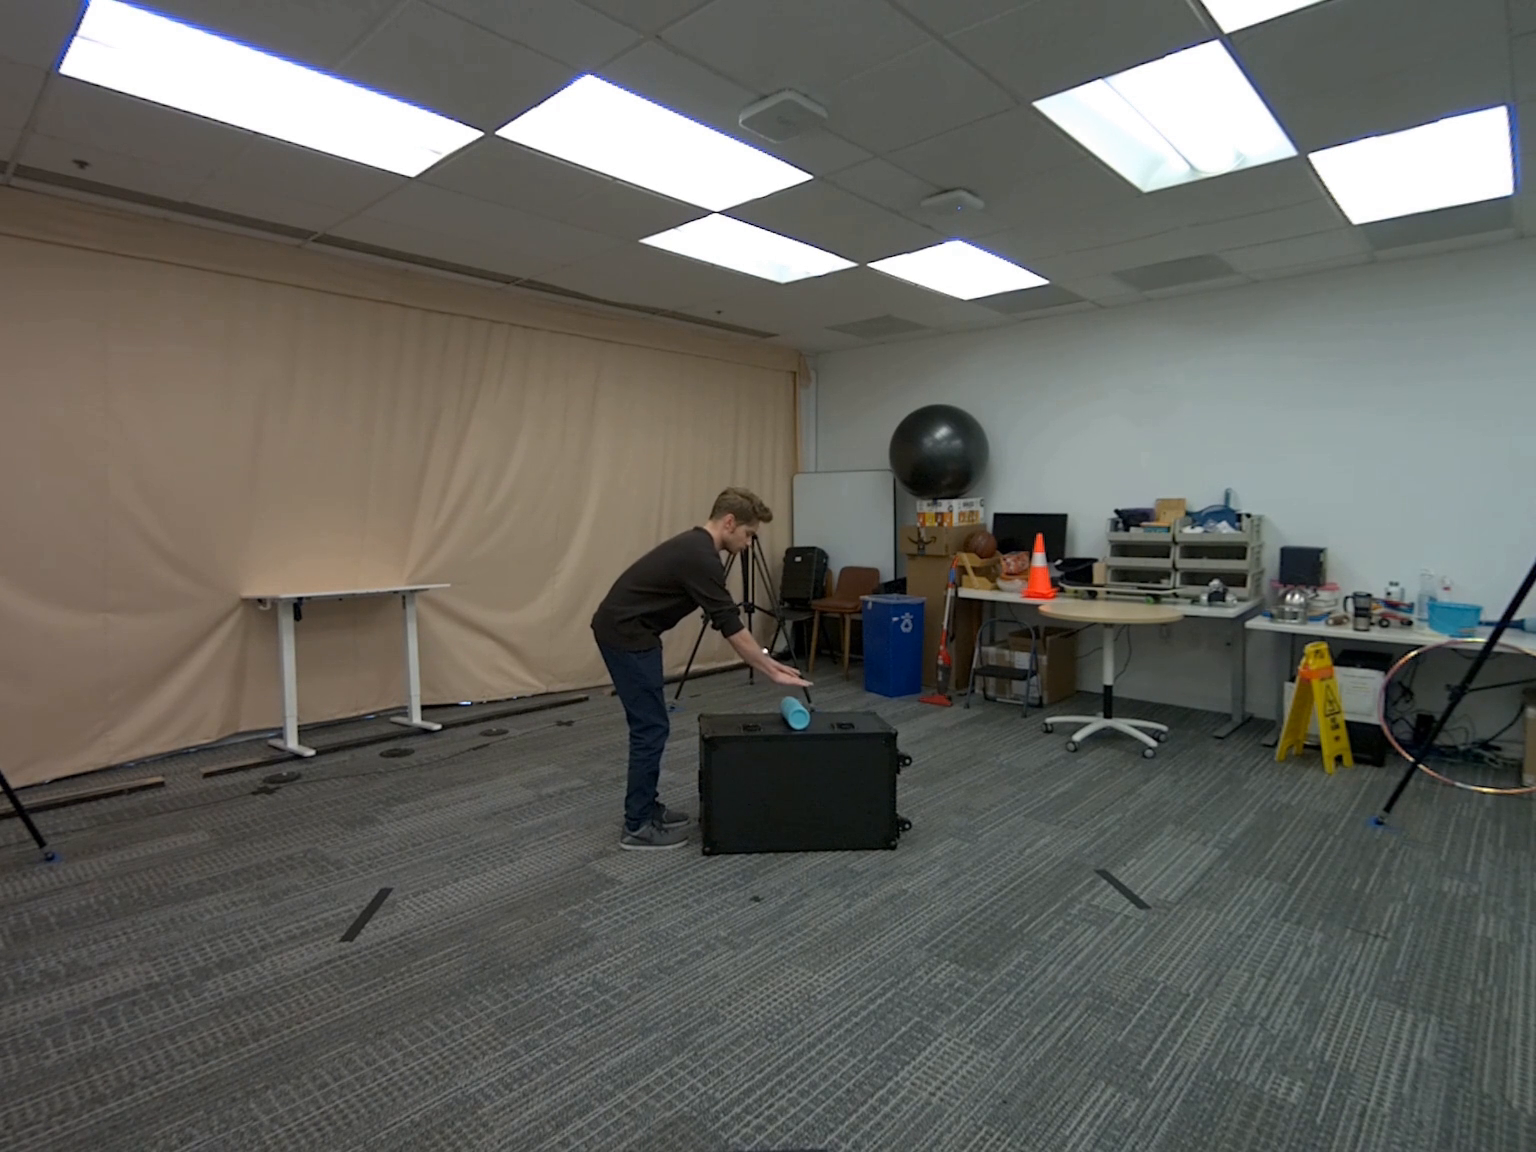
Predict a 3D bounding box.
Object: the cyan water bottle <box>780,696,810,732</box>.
[{"bbox_3d":[0.107,0.572,3.557,0.092,0.092,0.285,0,4,-6],"label":"cyan water bottle"}]
